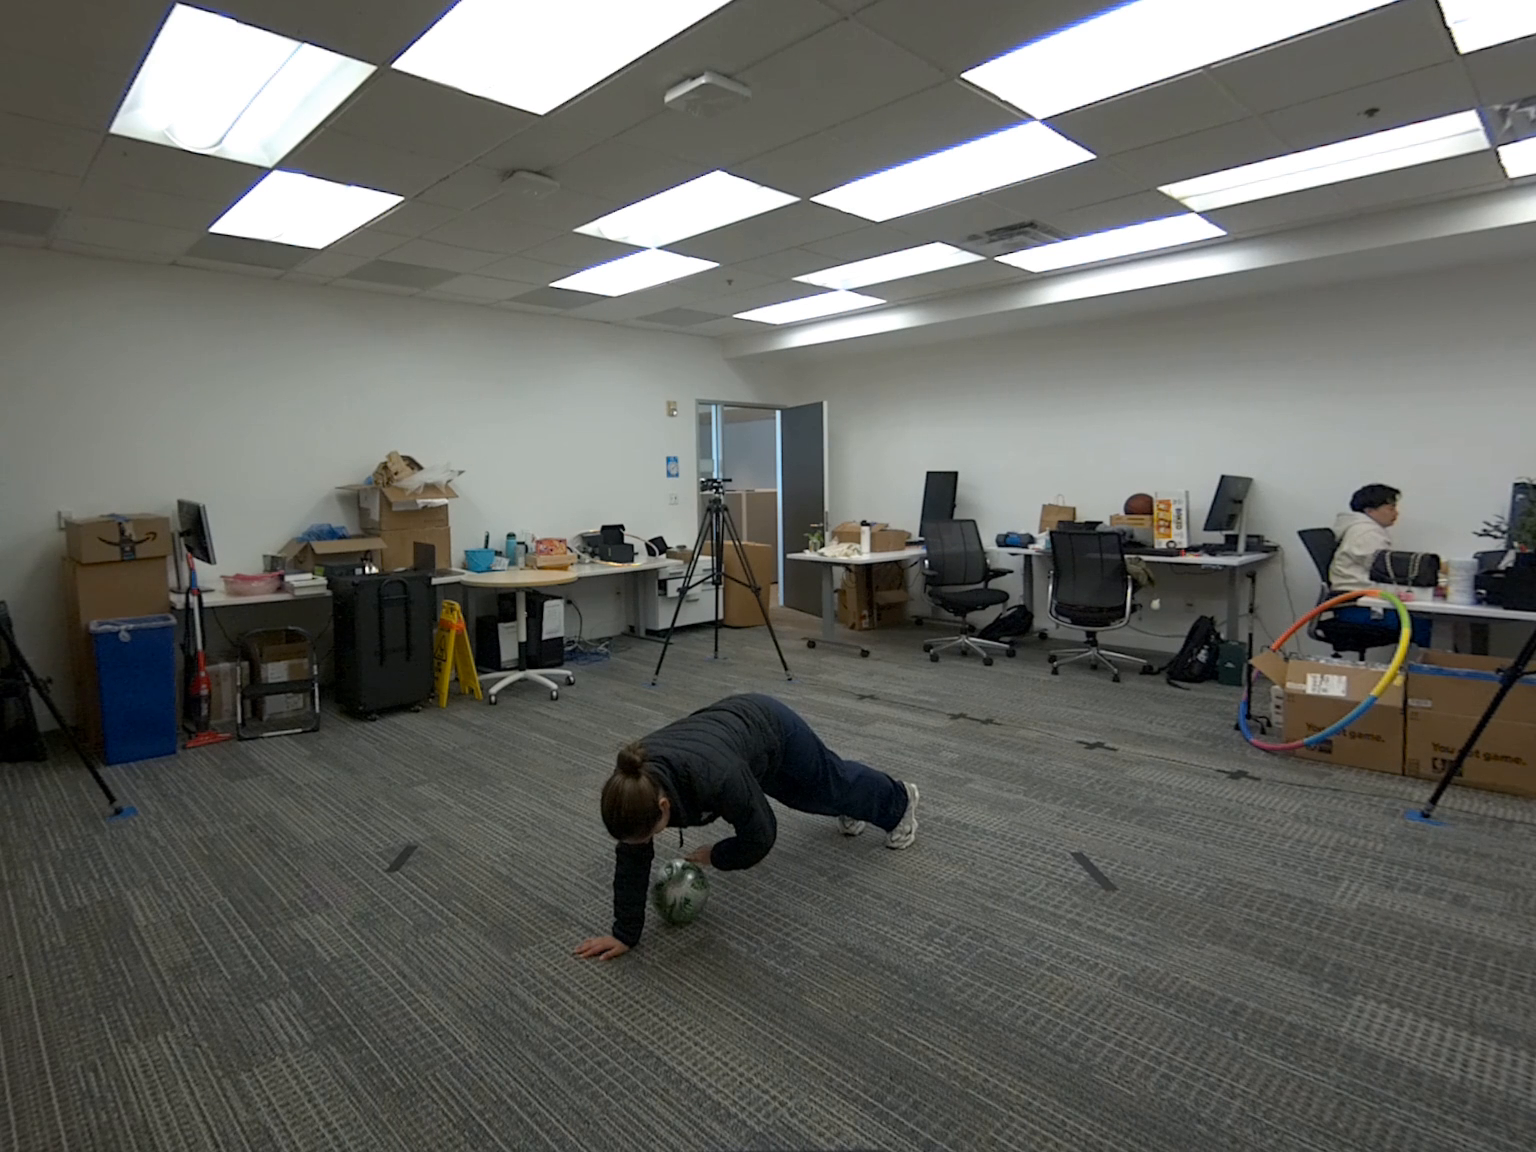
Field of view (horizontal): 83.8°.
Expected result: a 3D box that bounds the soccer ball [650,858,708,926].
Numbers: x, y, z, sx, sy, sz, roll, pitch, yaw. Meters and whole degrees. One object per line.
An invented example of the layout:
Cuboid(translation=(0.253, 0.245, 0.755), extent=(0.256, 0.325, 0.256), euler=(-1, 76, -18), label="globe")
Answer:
Cuboid(translation=(-0.273, 1.002, 2.713), extent=(0.187, 0.187, 0.188), euler=(-1, 5, -2), label="soccer ball")
